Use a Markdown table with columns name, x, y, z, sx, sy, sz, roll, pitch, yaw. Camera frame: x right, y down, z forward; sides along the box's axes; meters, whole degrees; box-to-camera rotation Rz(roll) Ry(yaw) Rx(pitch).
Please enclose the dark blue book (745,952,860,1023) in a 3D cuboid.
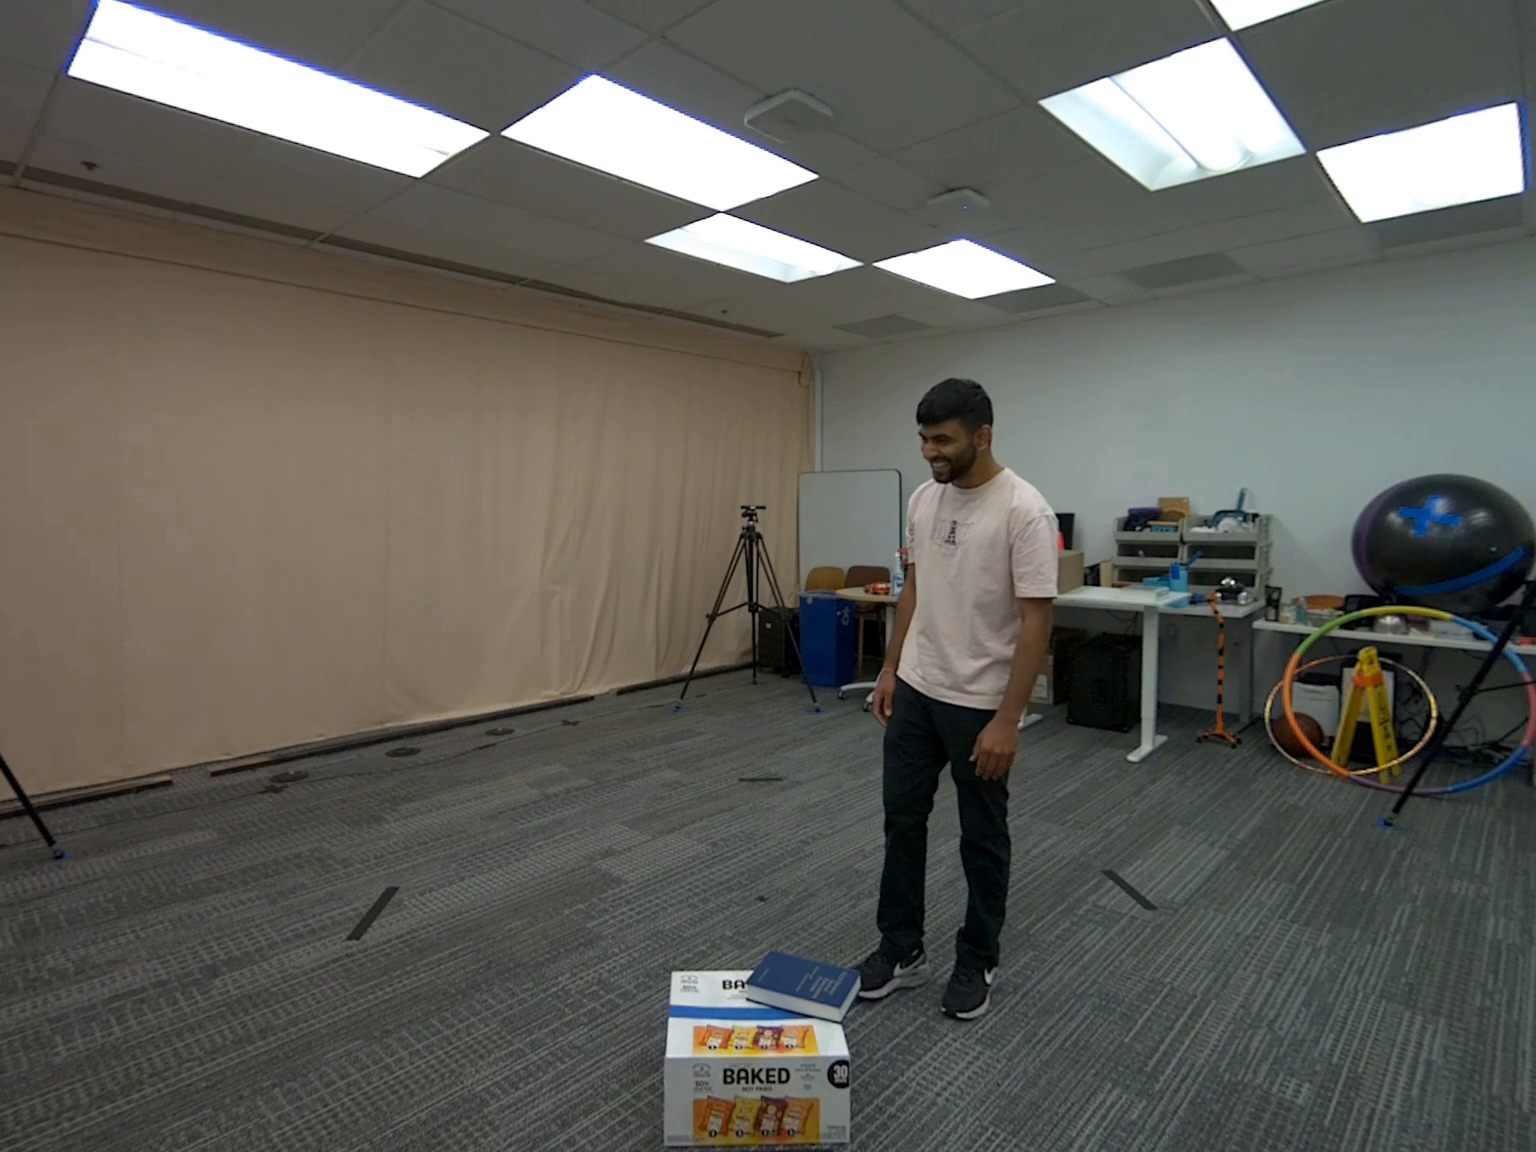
| name | x | y | z | sx | sy | sz | roll | pitch | yaw |
| --- | --- | --- | --- | --- | --- | --- | --- | --- | --- |
| dark blue book | 0.093 | 1.000 | 2.048 | 0.251 | 0.045 | 0.160 | 1 | 7 | 25 |
